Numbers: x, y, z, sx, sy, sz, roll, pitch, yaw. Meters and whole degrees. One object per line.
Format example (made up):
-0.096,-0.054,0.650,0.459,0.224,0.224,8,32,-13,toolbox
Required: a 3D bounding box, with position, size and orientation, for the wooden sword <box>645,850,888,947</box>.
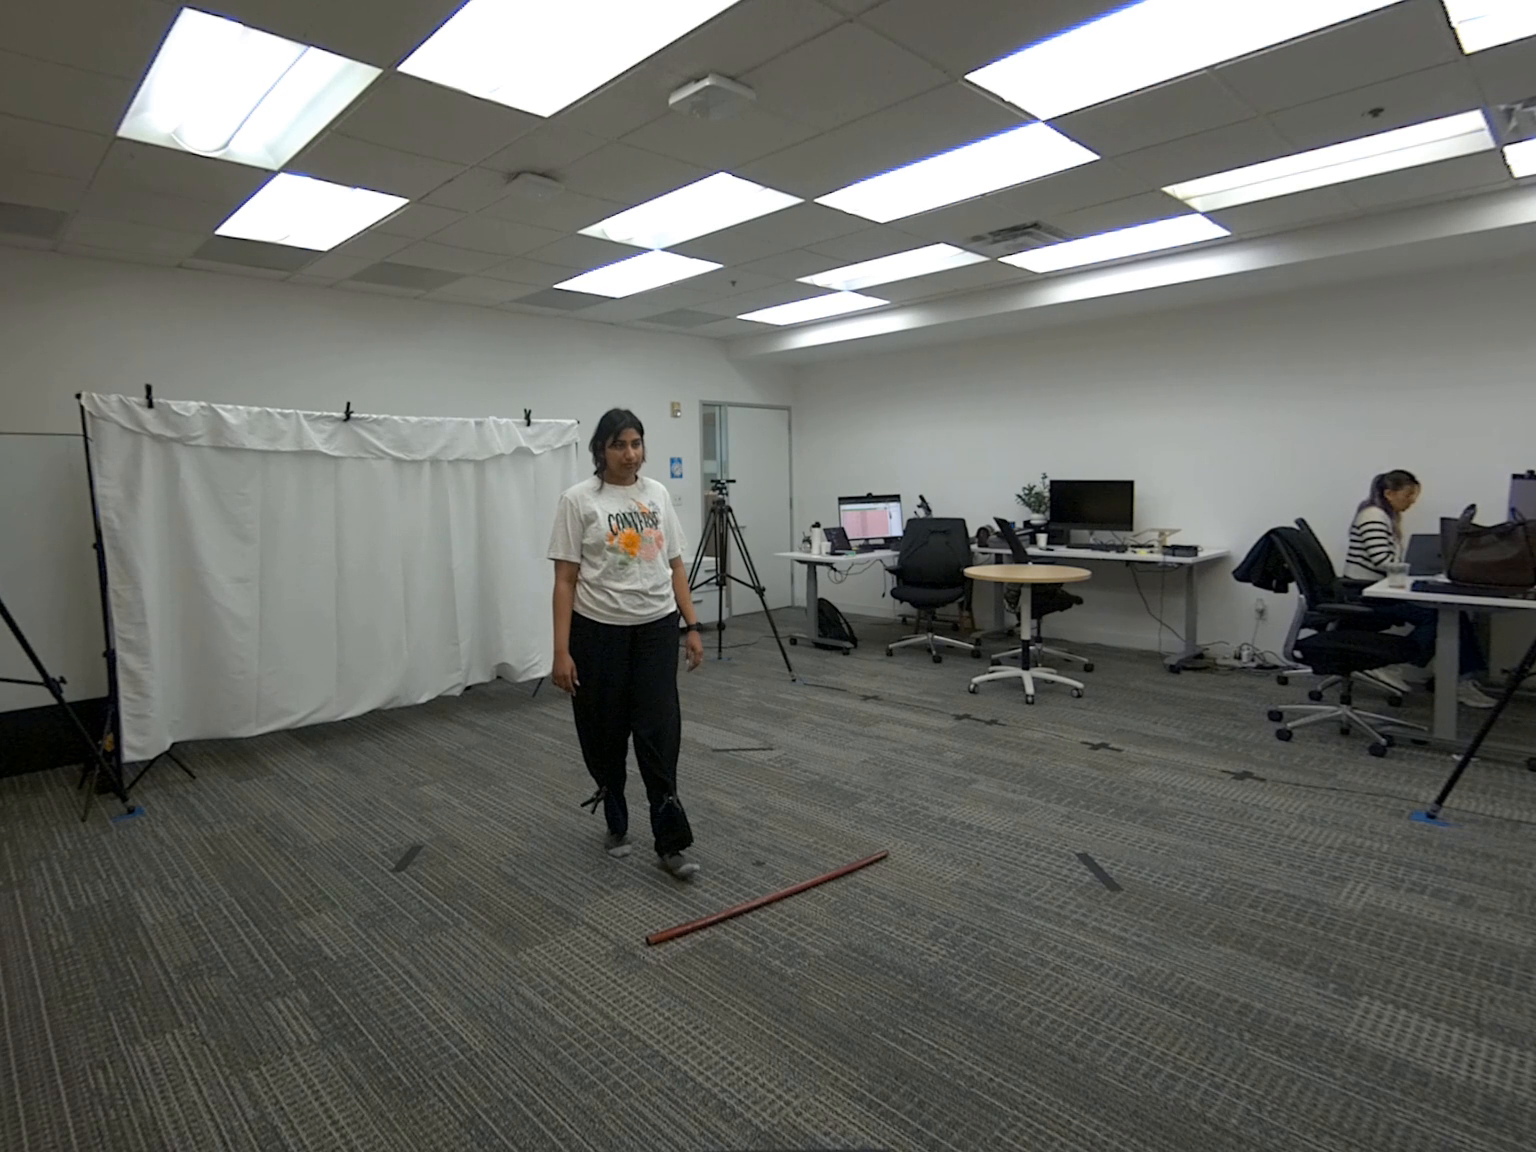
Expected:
0.041,1.051,2.872,0.999,0.024,0.052,-6,-10,-35,wooden sword
